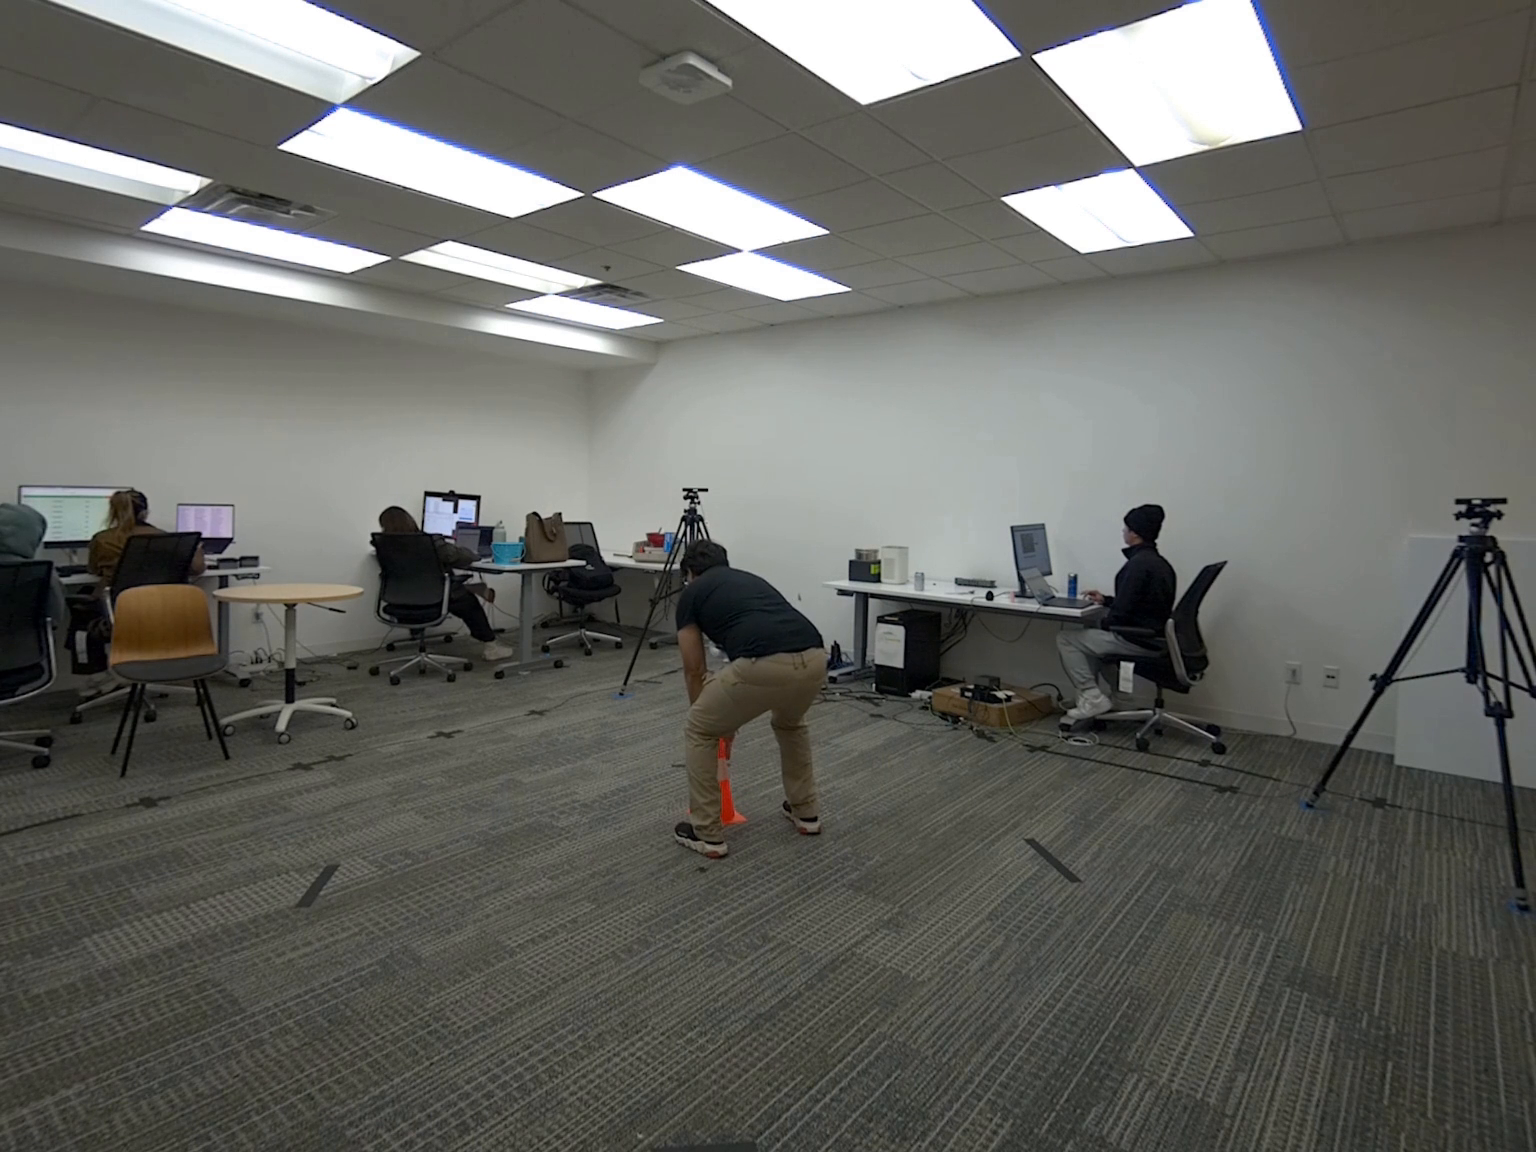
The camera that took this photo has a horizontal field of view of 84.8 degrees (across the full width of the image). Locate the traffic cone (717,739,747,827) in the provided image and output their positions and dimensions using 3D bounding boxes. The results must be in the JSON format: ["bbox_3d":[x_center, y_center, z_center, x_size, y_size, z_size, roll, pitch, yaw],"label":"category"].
[{"bbox_3d":[-0.229,0.833,3.625,0.199,0.382,0.210,-1,4,-23],"label":"traffic cone"}]
